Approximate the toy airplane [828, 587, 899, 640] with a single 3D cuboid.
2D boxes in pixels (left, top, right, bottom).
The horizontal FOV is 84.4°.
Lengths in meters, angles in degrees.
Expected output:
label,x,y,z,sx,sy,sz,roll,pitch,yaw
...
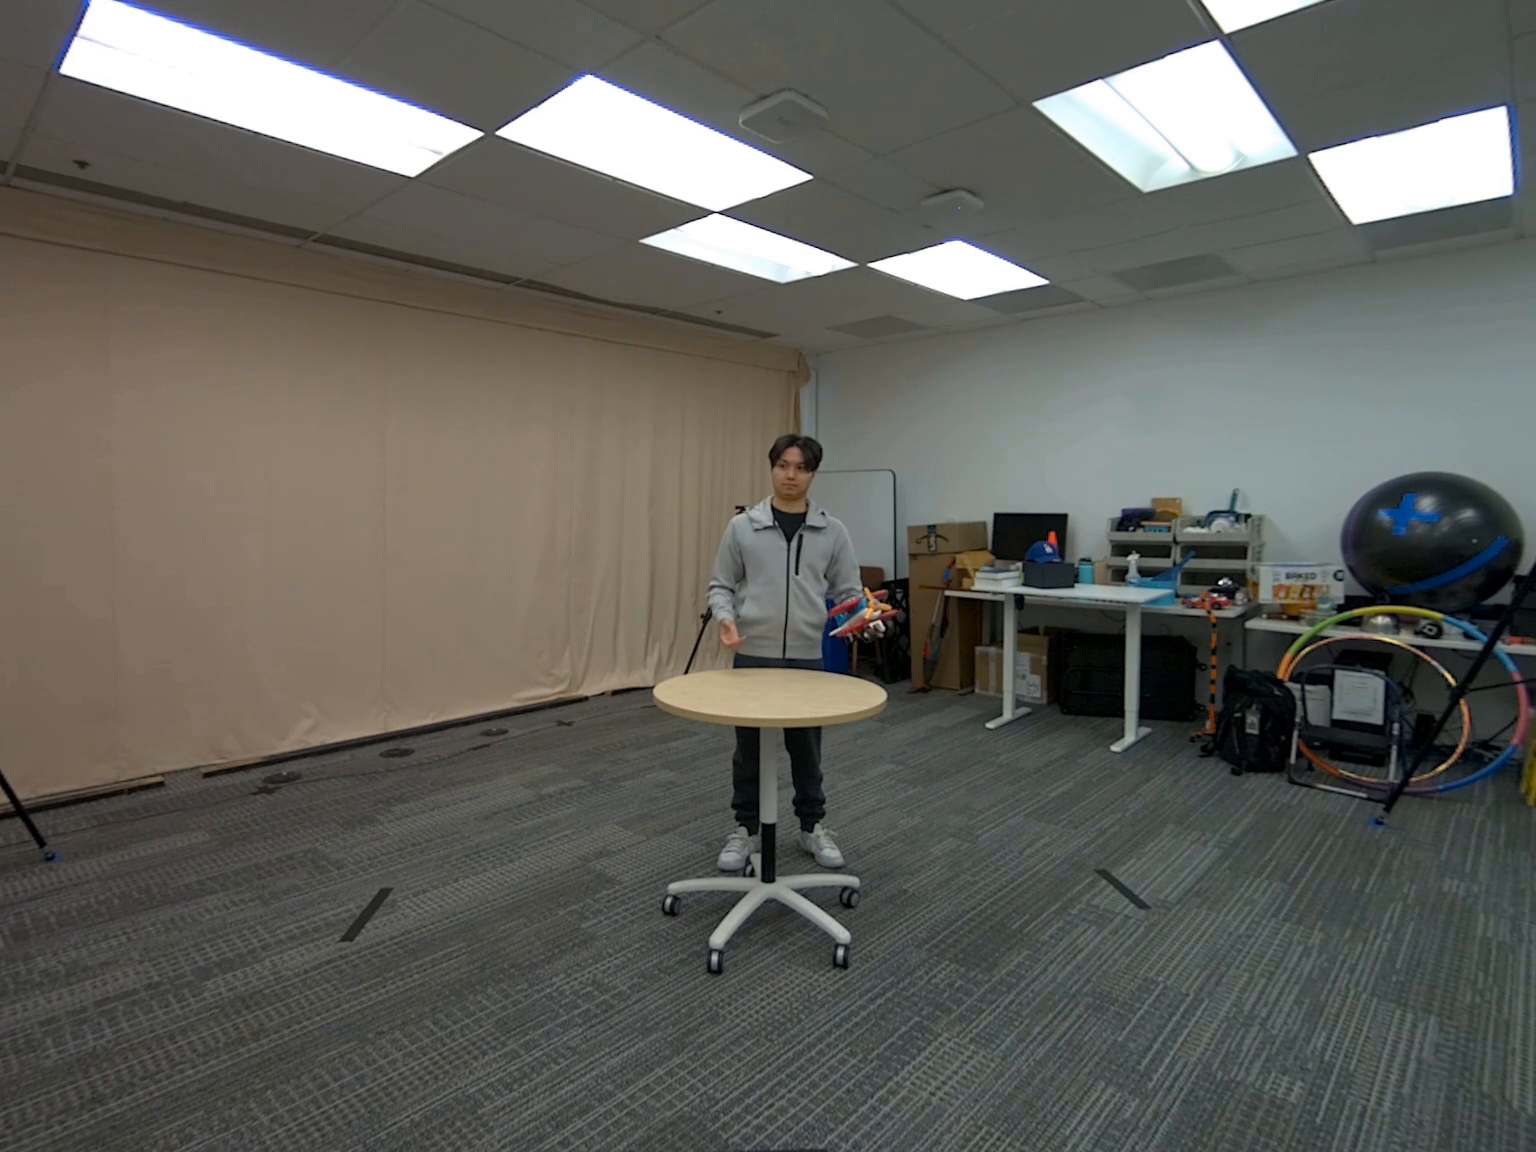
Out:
label,x,y,z,sx,sy,sz,roll,pitch,yaw
toy airplane,0.295,0.145,2.990,0.265,0.157,0.244,-18,-4,32
